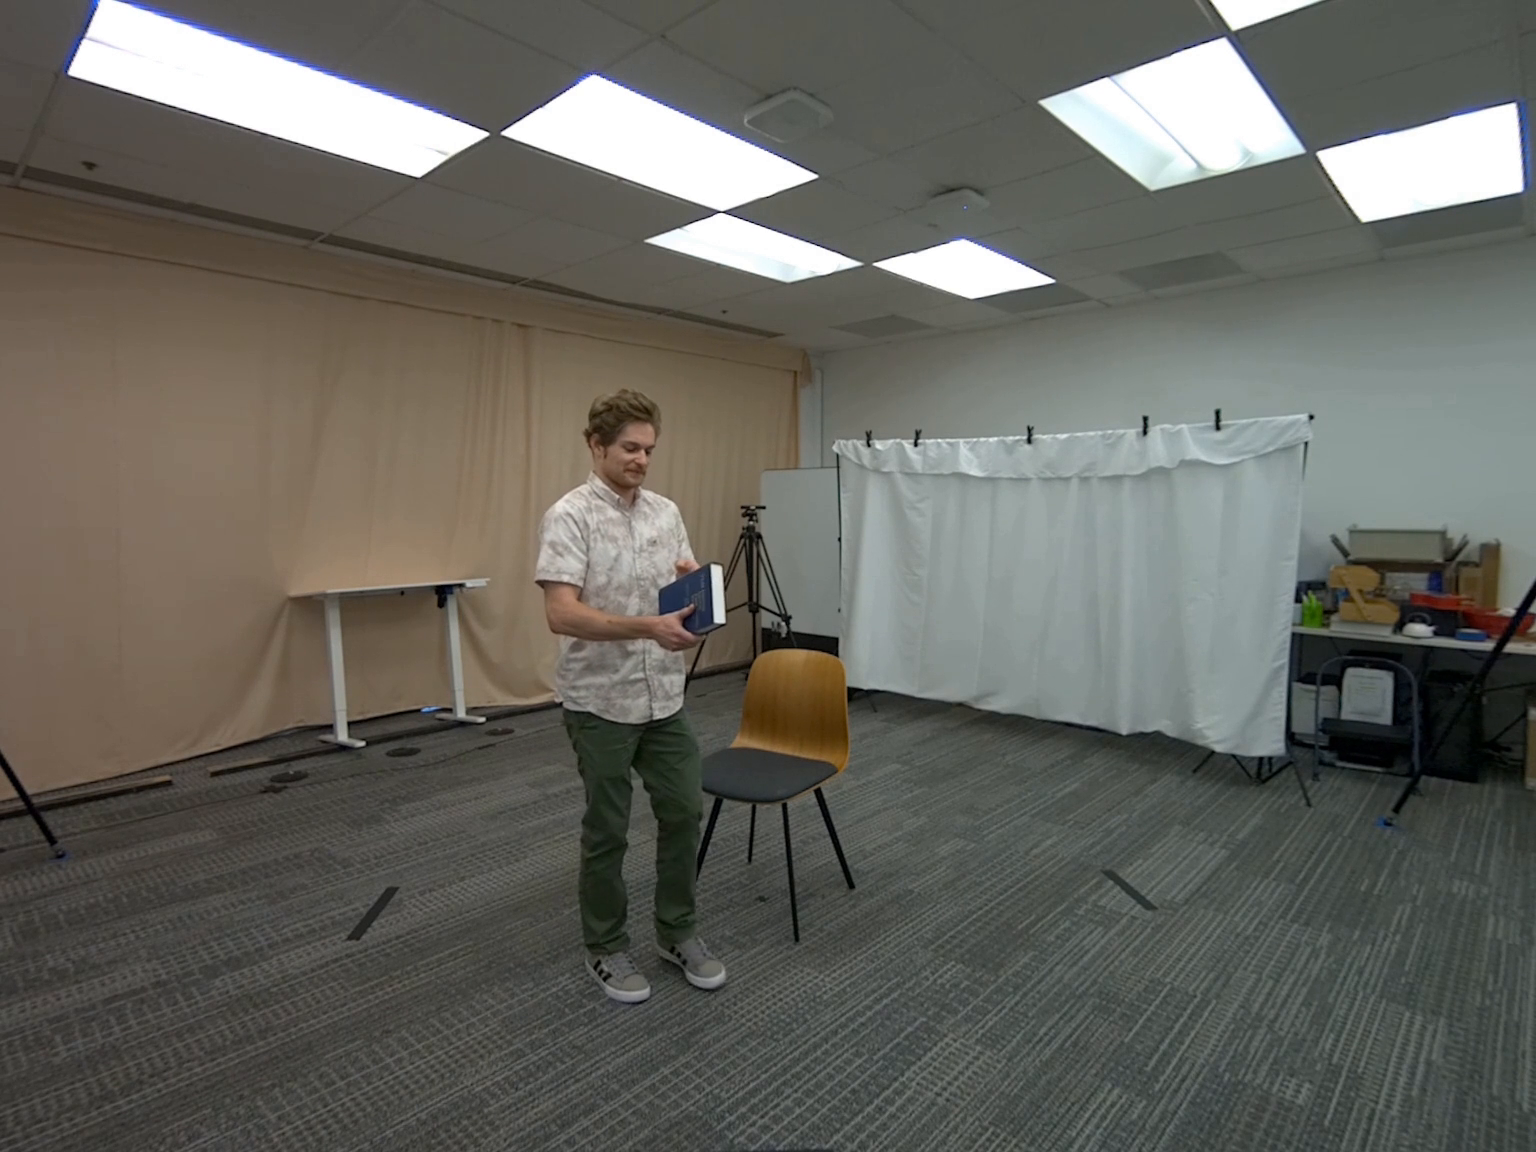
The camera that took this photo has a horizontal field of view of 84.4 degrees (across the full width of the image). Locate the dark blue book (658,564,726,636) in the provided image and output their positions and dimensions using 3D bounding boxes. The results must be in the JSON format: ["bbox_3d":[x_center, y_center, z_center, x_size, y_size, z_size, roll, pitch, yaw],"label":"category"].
[{"bbox_3d":[-0.197,0.080,2.165,0.044,0.166,0.250,12,-27,-38],"label":"dark blue book"}]
